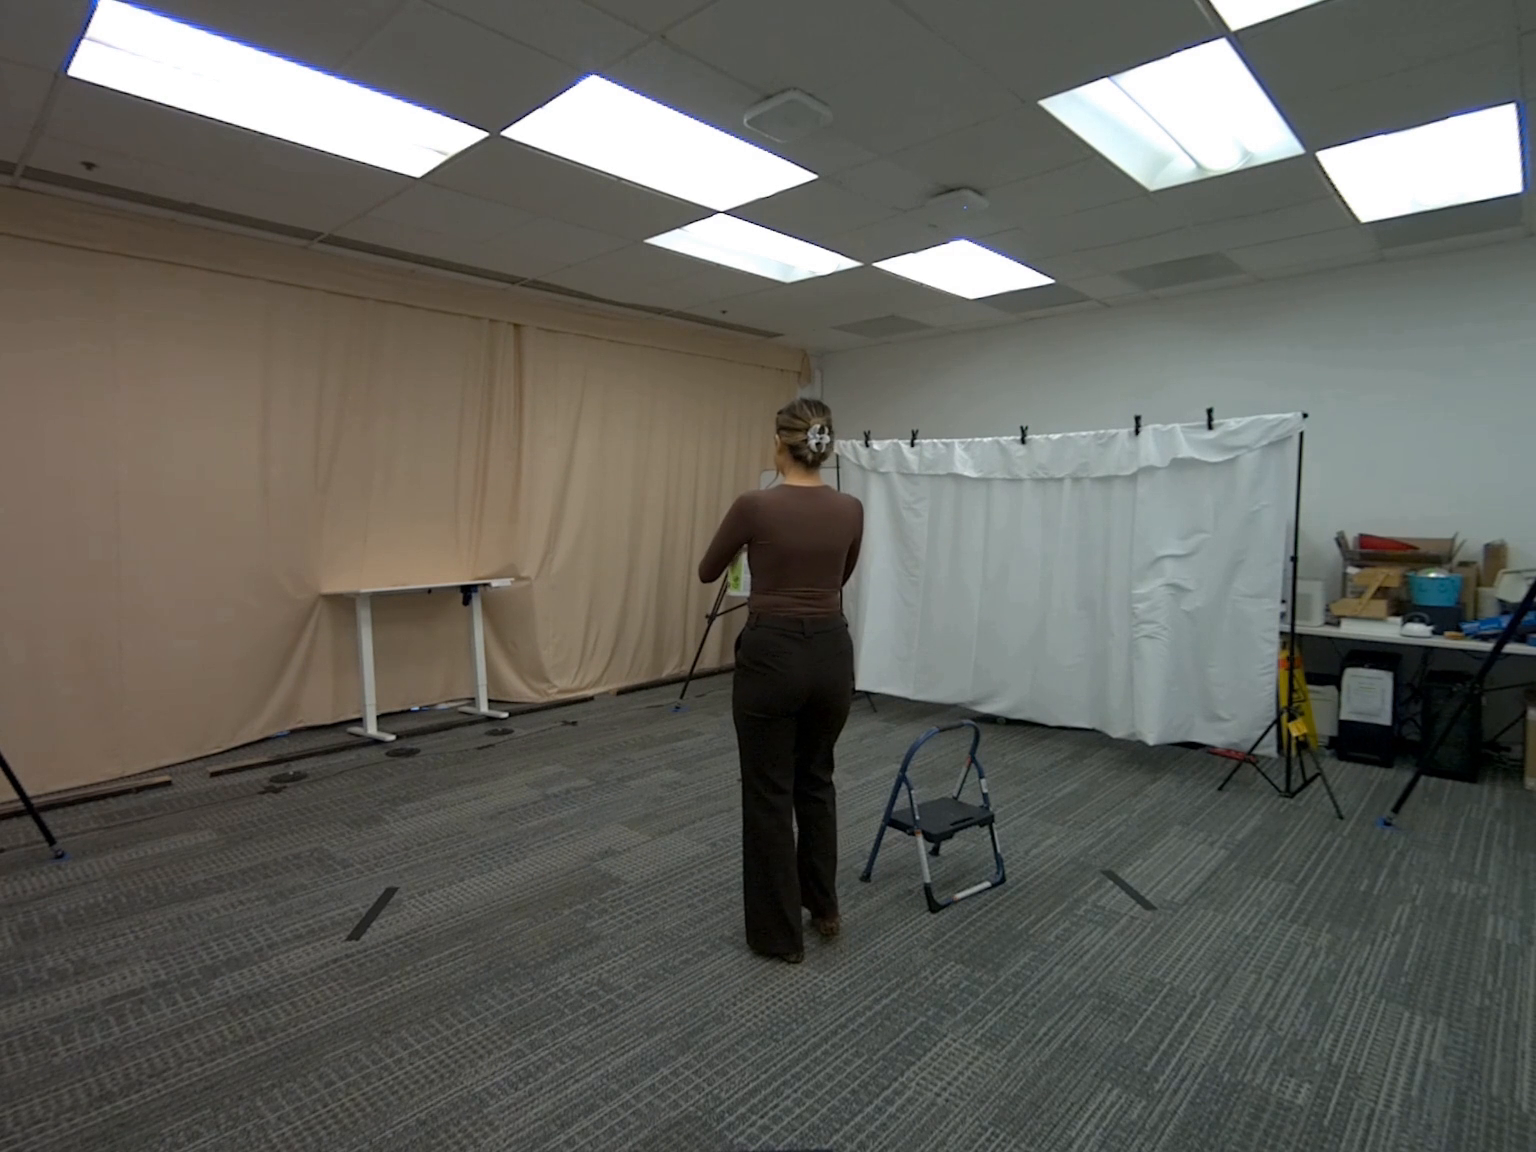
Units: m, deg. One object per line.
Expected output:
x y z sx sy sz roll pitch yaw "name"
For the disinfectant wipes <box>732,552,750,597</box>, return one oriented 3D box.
-0.060 -0.041 2.980 0.118 0.217 0.118 4 0 -2 "disinfectant wipes"
